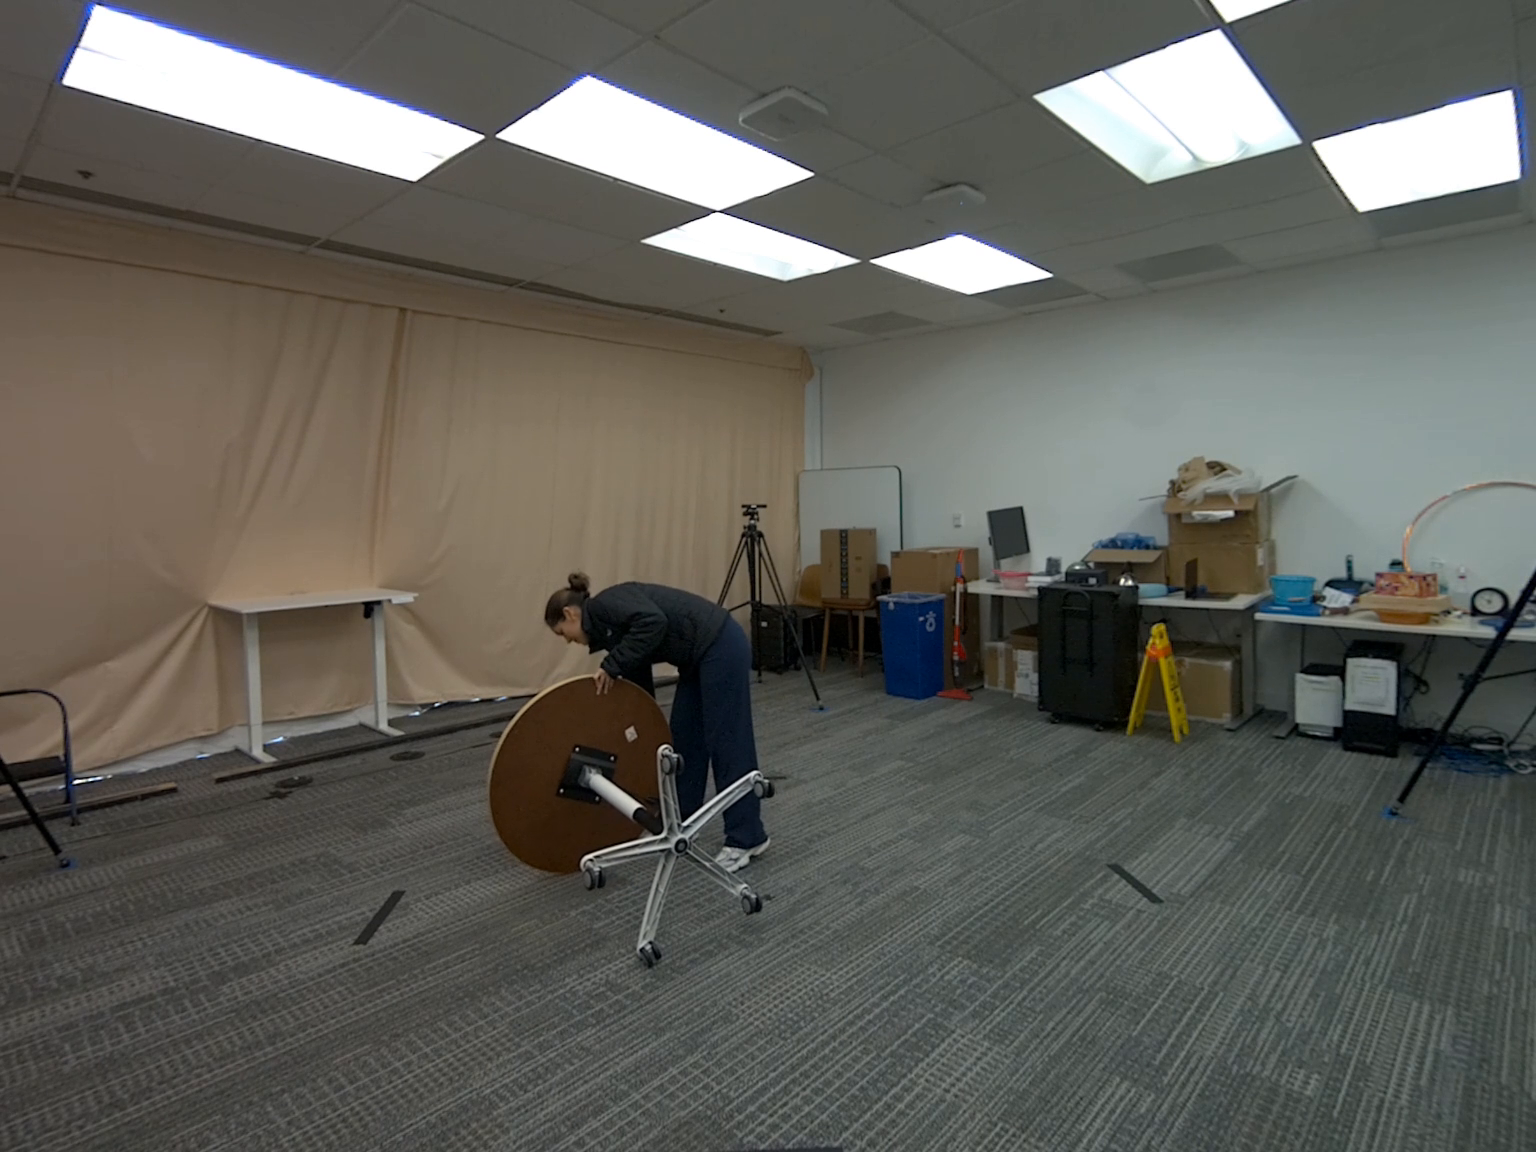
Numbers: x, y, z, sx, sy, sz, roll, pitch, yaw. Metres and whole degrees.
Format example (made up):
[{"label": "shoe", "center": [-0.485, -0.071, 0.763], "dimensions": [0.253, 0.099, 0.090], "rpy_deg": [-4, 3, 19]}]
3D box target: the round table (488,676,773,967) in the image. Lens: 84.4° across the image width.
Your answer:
[{"label": "round table", "center": [-0.452, 0.811, 2.910], "dimensions": [0.762, 0.781, 0.813], "rpy_deg": [-4, 10, -37]}]
